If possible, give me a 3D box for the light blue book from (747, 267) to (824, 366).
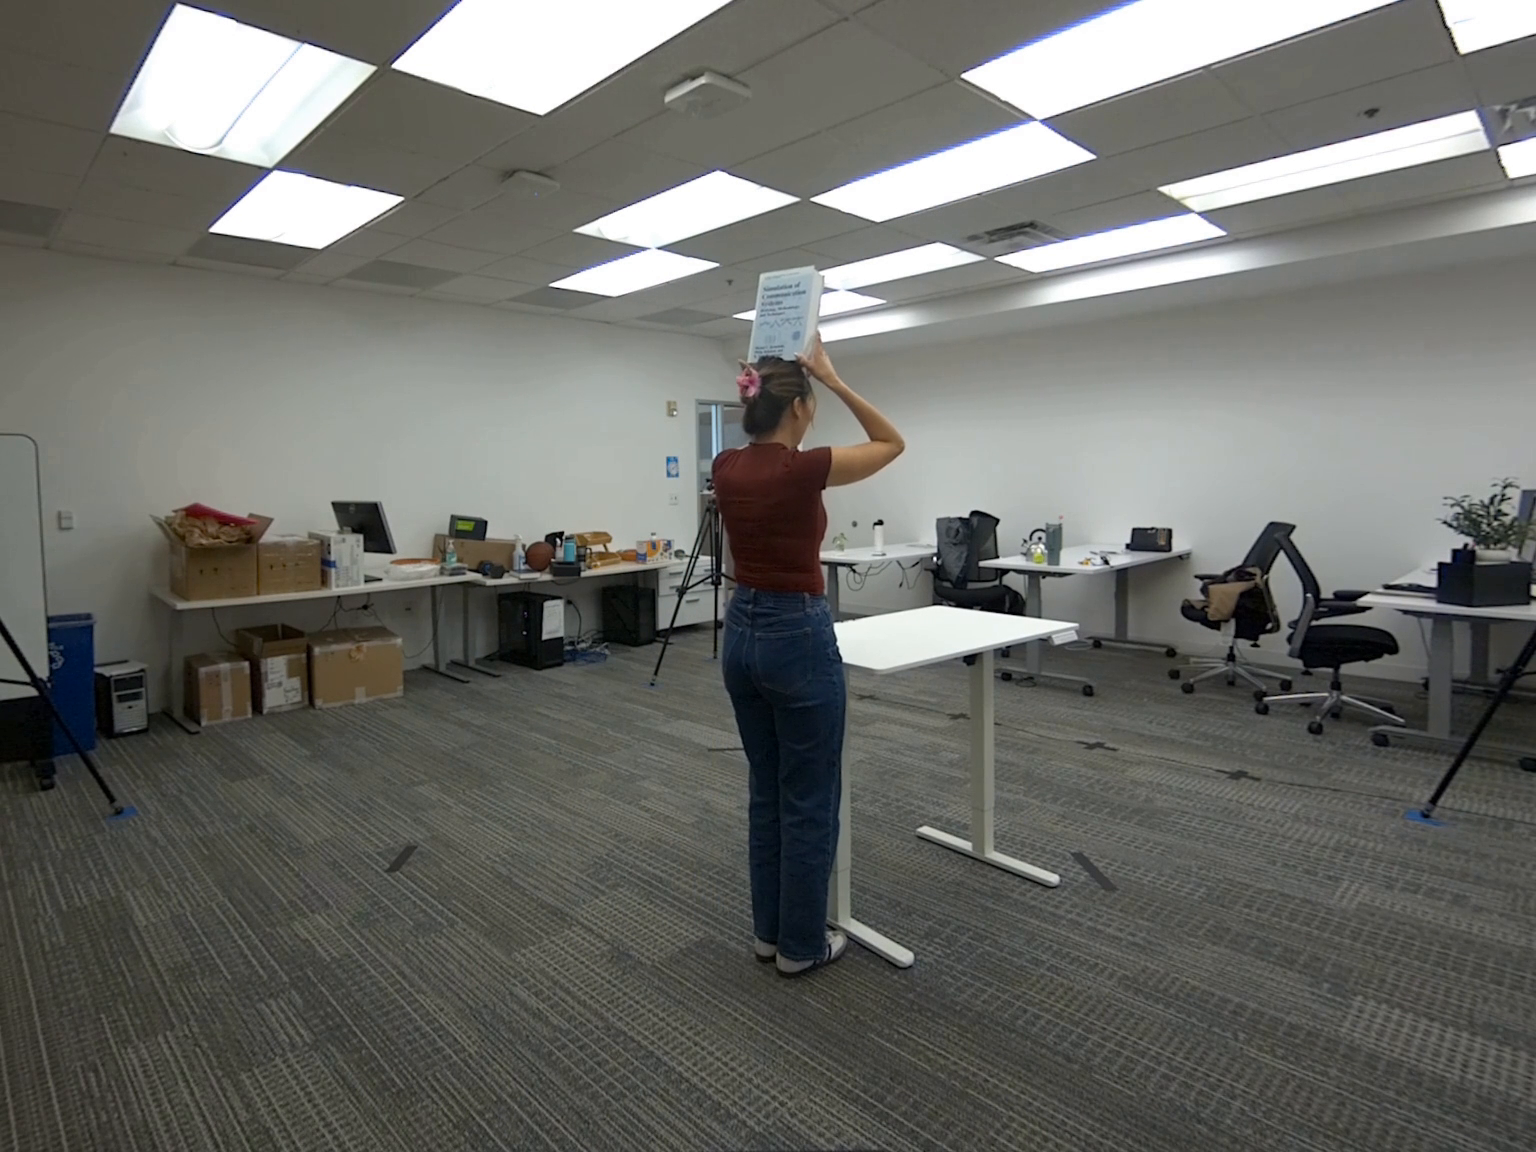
[{"bbox_3d":[0.052,-0.715,2.374,0.197,0.262,0.057,6,-4,35],"label":"light blue book"}]
